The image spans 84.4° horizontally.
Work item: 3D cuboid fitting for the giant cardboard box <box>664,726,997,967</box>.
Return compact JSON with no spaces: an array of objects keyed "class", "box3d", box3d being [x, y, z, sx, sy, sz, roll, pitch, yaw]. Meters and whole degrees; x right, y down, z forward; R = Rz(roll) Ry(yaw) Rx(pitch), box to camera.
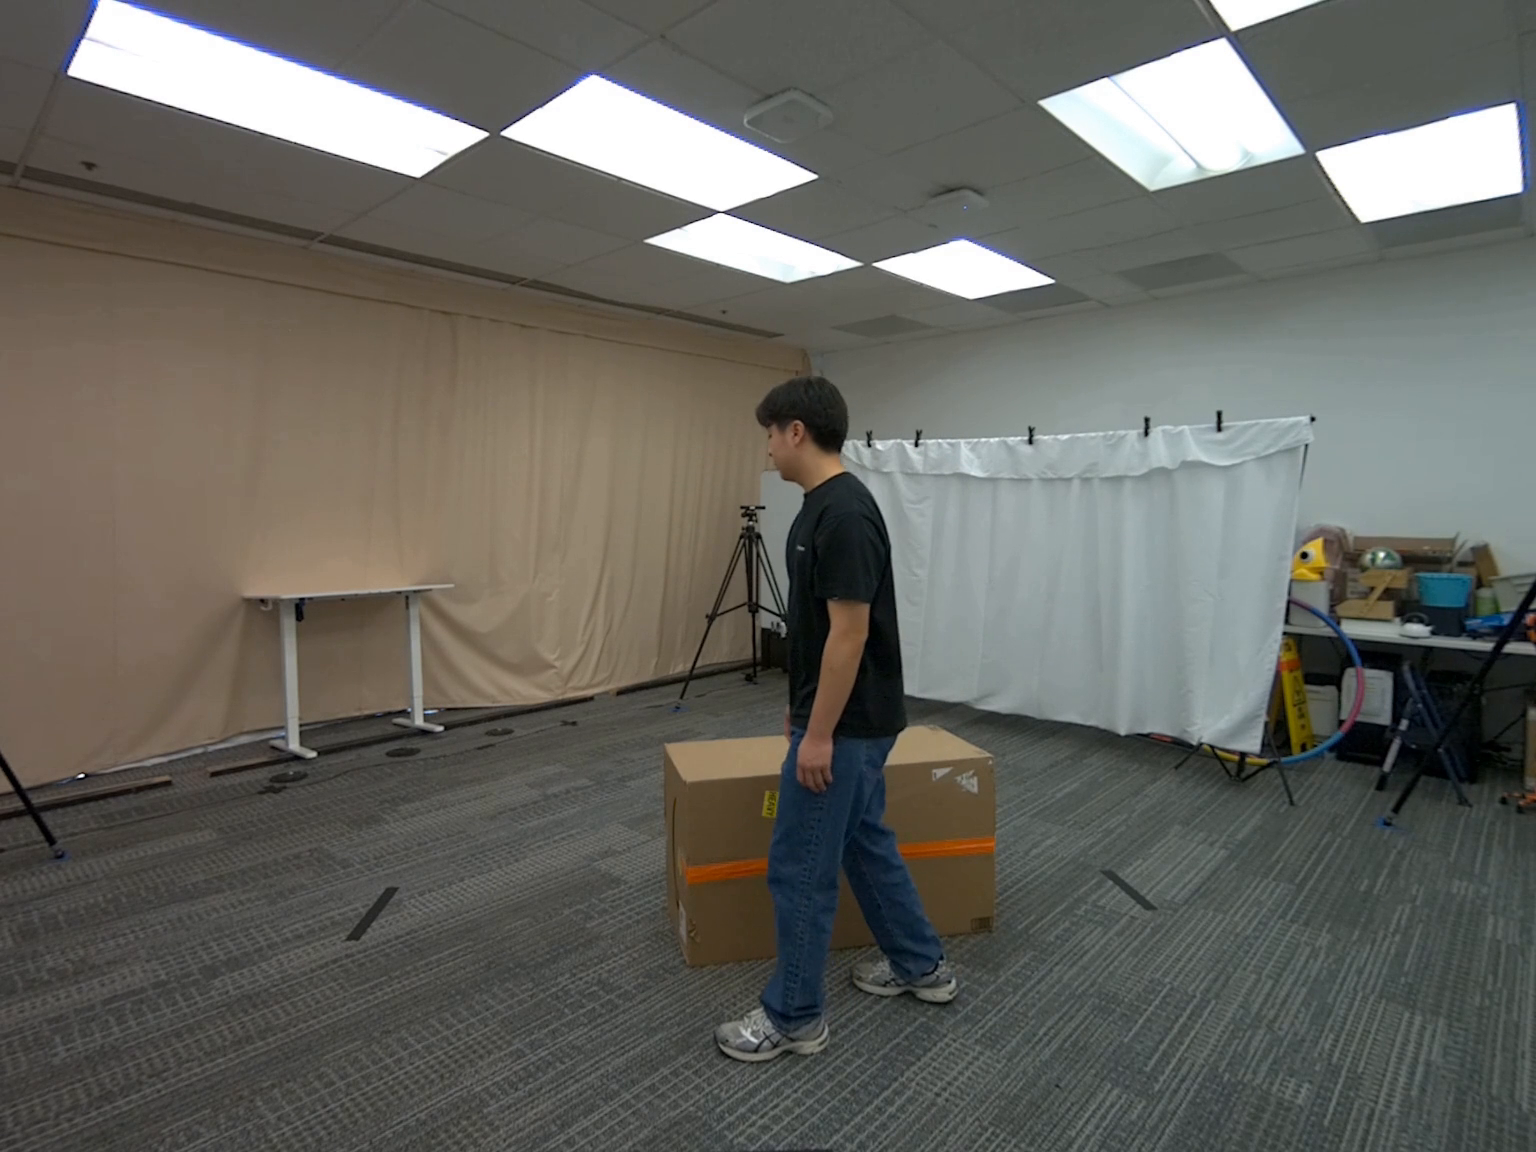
[{"class":"giant cardboard box","box3d":[0.190,0.868,2.832,1.013,0.582,0.454,-2,5,-13]}]
